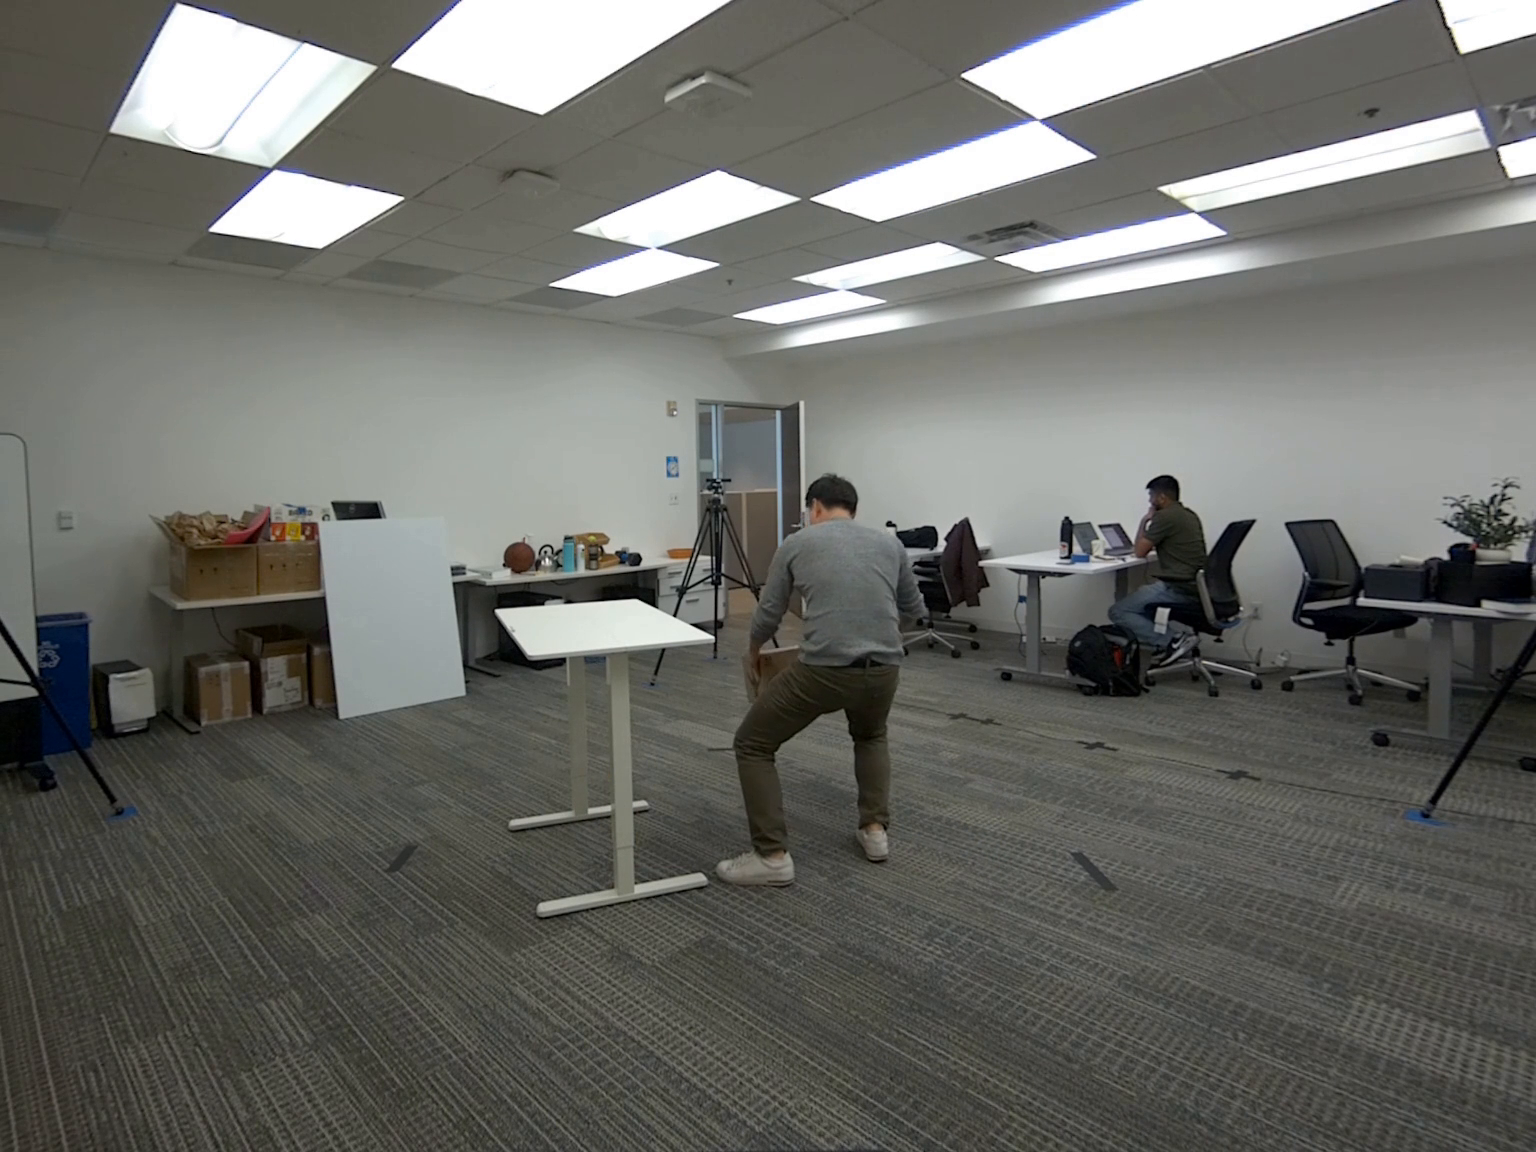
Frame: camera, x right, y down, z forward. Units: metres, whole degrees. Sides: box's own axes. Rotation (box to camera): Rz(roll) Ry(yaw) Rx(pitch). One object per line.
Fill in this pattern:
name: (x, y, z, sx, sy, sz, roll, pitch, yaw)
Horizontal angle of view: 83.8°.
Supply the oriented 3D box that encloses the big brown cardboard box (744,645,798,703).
big brown cardboard box: (0.215, 0.391, 3.647, 0.583, 0.234, 0.419, -9, -4, -12)
